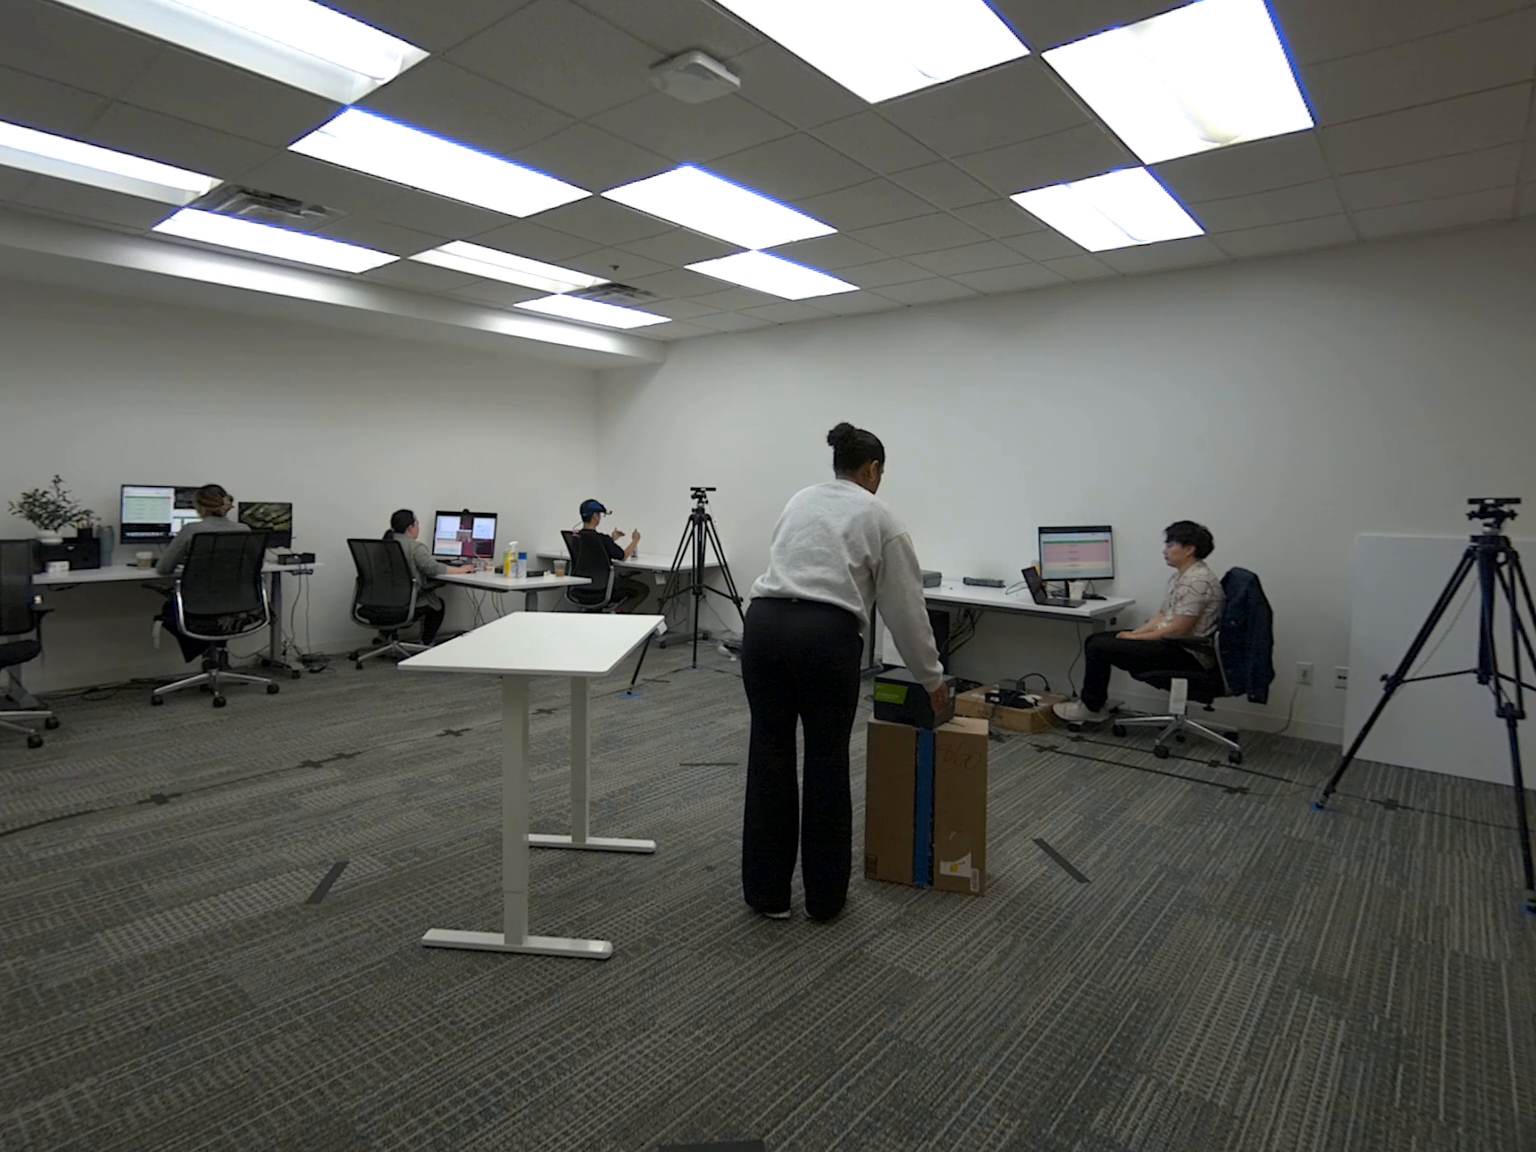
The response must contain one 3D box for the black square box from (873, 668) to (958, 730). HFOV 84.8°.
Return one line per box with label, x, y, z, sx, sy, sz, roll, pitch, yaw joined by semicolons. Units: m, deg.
black square box;0.528;0.442;3.100;0.235;0.155;0.211;5;5;33
